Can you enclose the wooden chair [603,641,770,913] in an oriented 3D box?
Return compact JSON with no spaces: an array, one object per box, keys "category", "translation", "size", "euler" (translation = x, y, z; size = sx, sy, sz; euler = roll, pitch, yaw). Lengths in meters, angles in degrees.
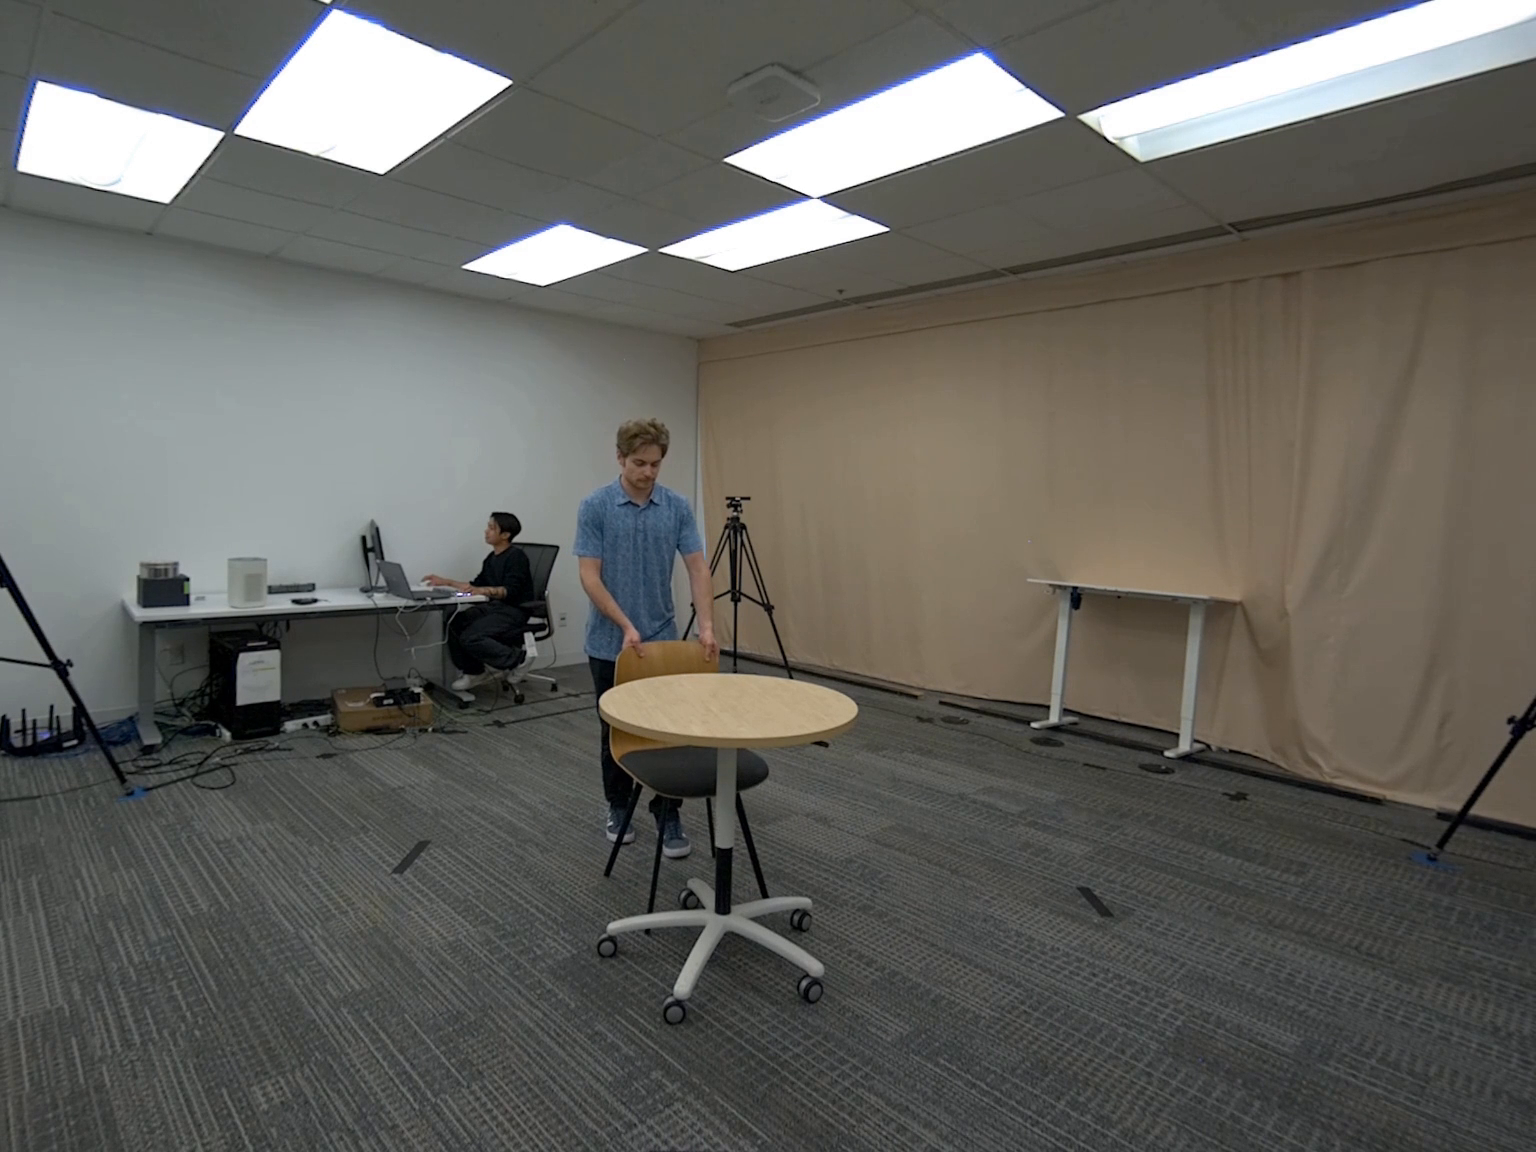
[{"category":"wooden chair","translation":[-0.285,0.692,2.933],"size":[0.469,0.877,0.533],"euler":[0,0,-27]}]
